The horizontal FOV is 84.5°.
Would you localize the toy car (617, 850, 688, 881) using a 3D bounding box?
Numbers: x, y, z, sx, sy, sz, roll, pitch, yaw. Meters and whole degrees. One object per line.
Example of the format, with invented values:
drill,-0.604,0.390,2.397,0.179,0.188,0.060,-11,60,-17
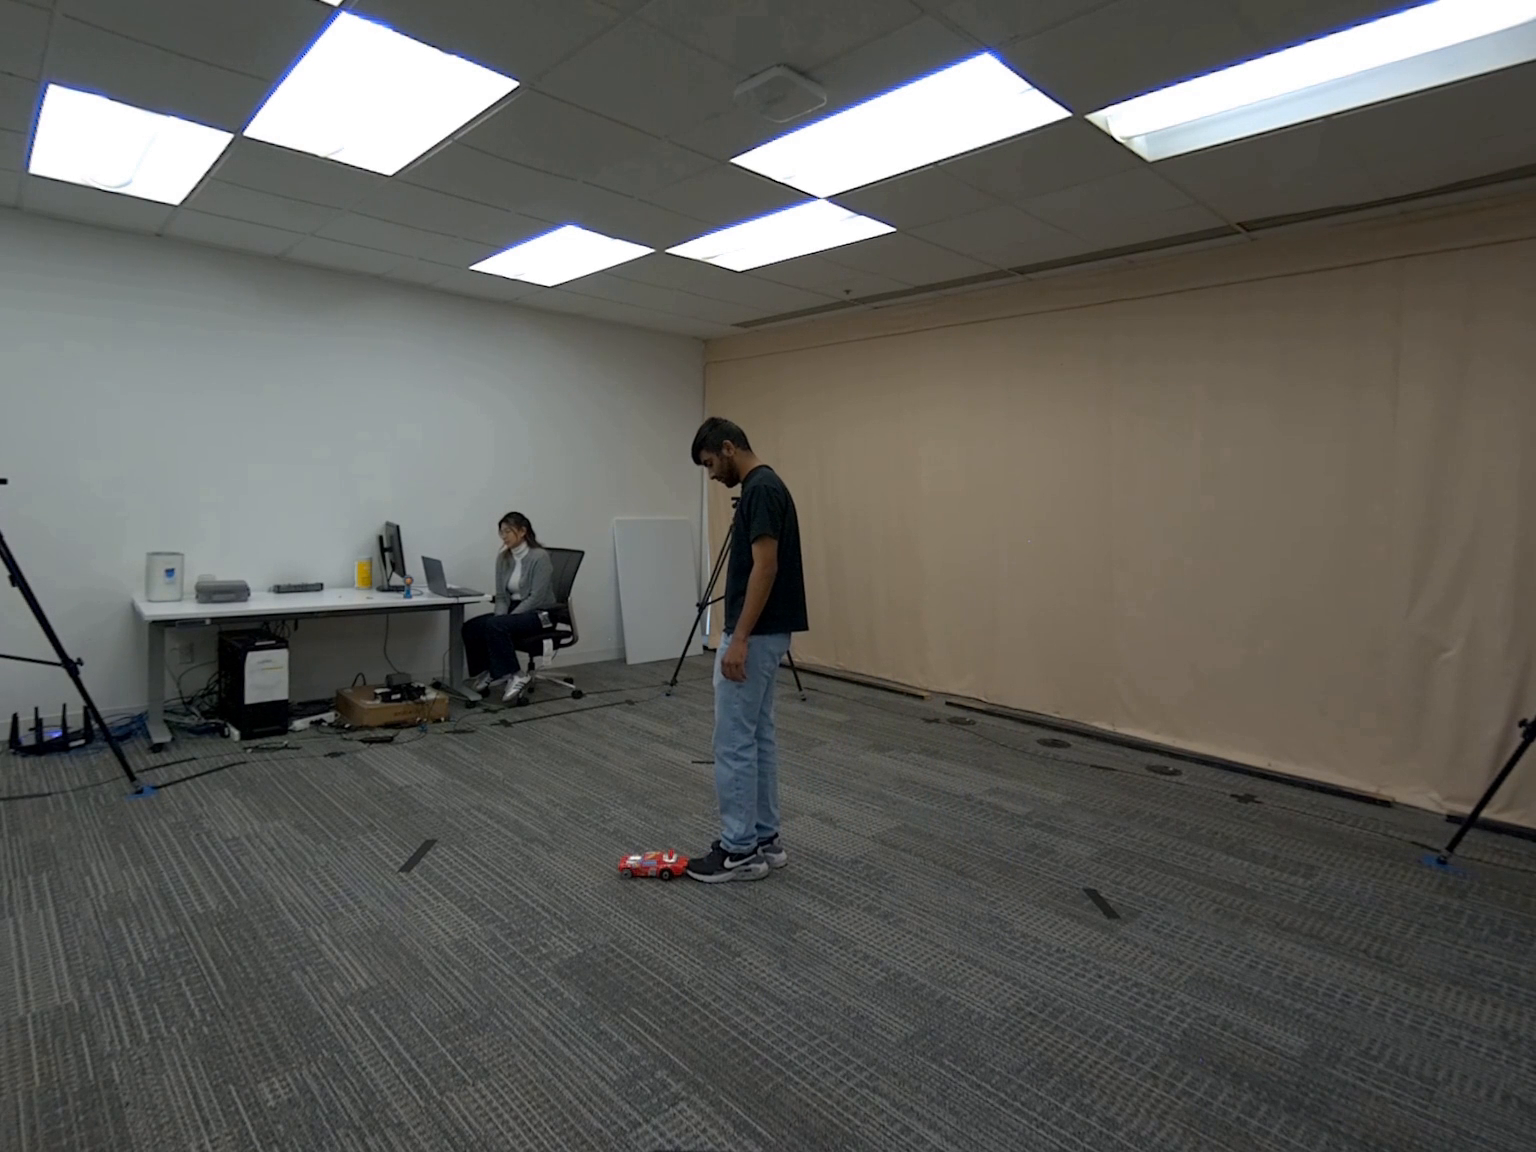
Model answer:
toy car,-0.422,1.061,3.103,0.255,0.083,0.130,-9,3,4
